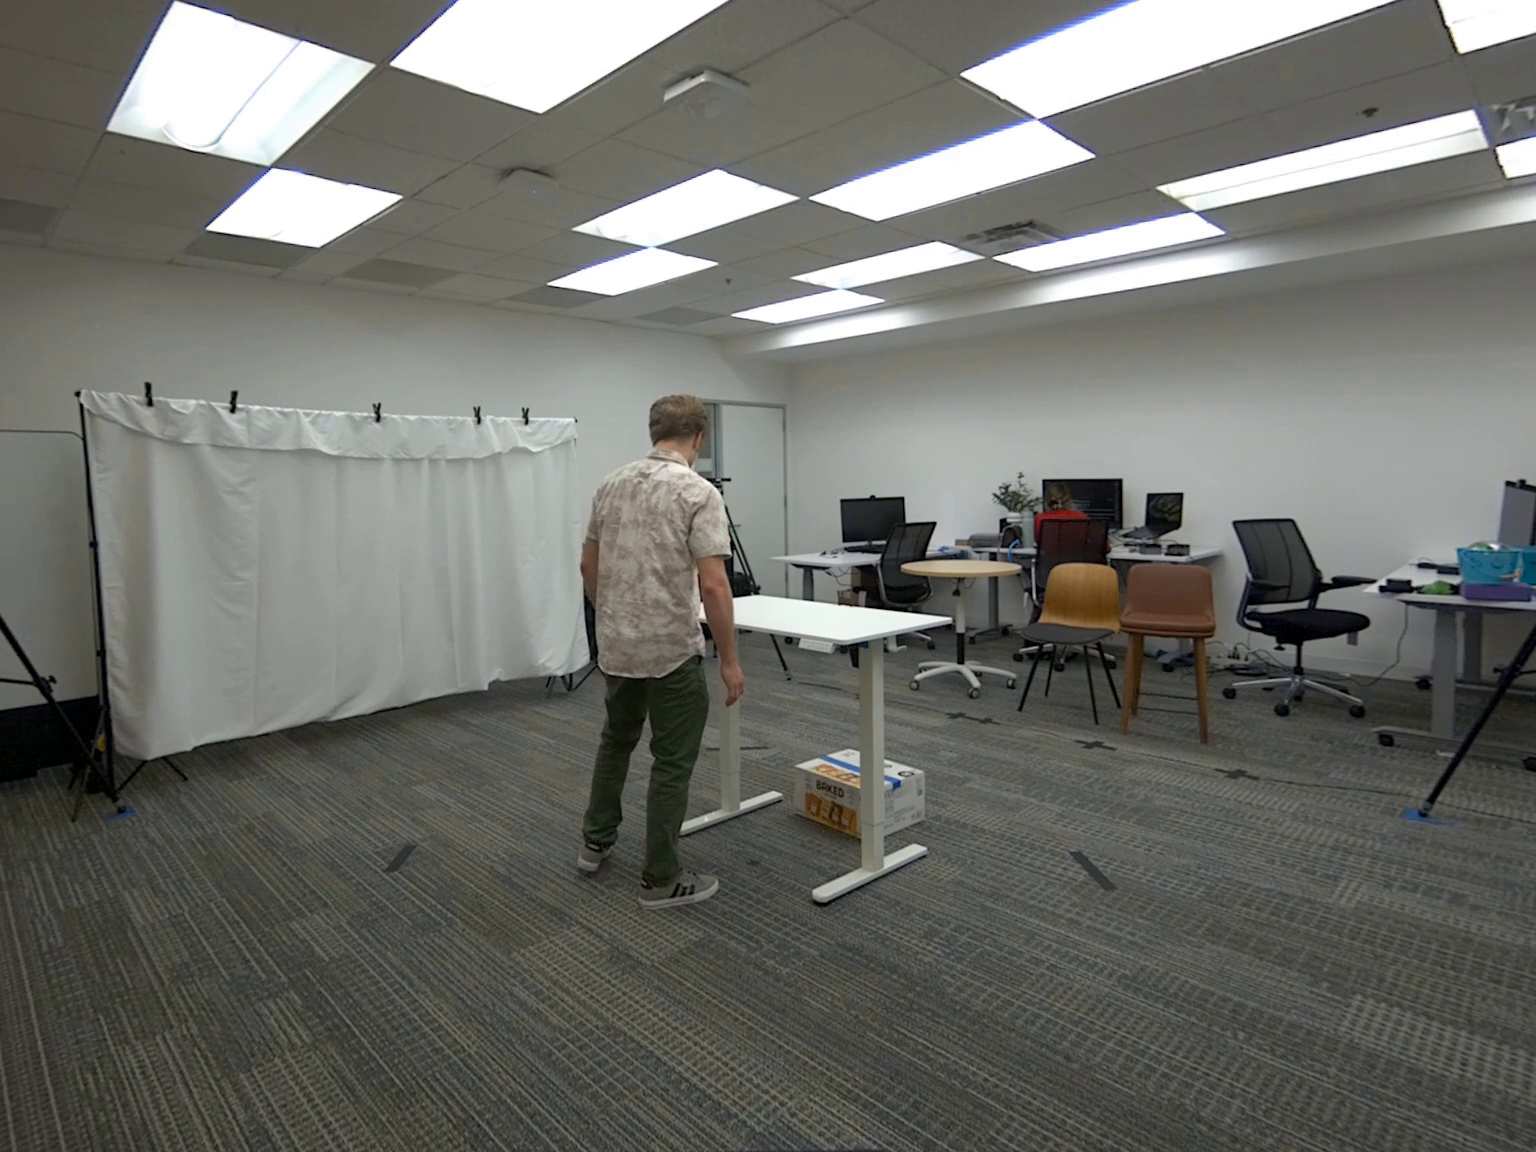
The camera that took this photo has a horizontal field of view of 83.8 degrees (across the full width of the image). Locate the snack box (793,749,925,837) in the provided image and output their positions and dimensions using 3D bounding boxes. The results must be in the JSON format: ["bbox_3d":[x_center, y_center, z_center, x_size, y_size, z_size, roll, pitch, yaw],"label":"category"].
[{"bbox_3d":[0.375,0.890,3.499,0.331,0.205,0.418,-6,8,-41],"label":"snack box"}]
